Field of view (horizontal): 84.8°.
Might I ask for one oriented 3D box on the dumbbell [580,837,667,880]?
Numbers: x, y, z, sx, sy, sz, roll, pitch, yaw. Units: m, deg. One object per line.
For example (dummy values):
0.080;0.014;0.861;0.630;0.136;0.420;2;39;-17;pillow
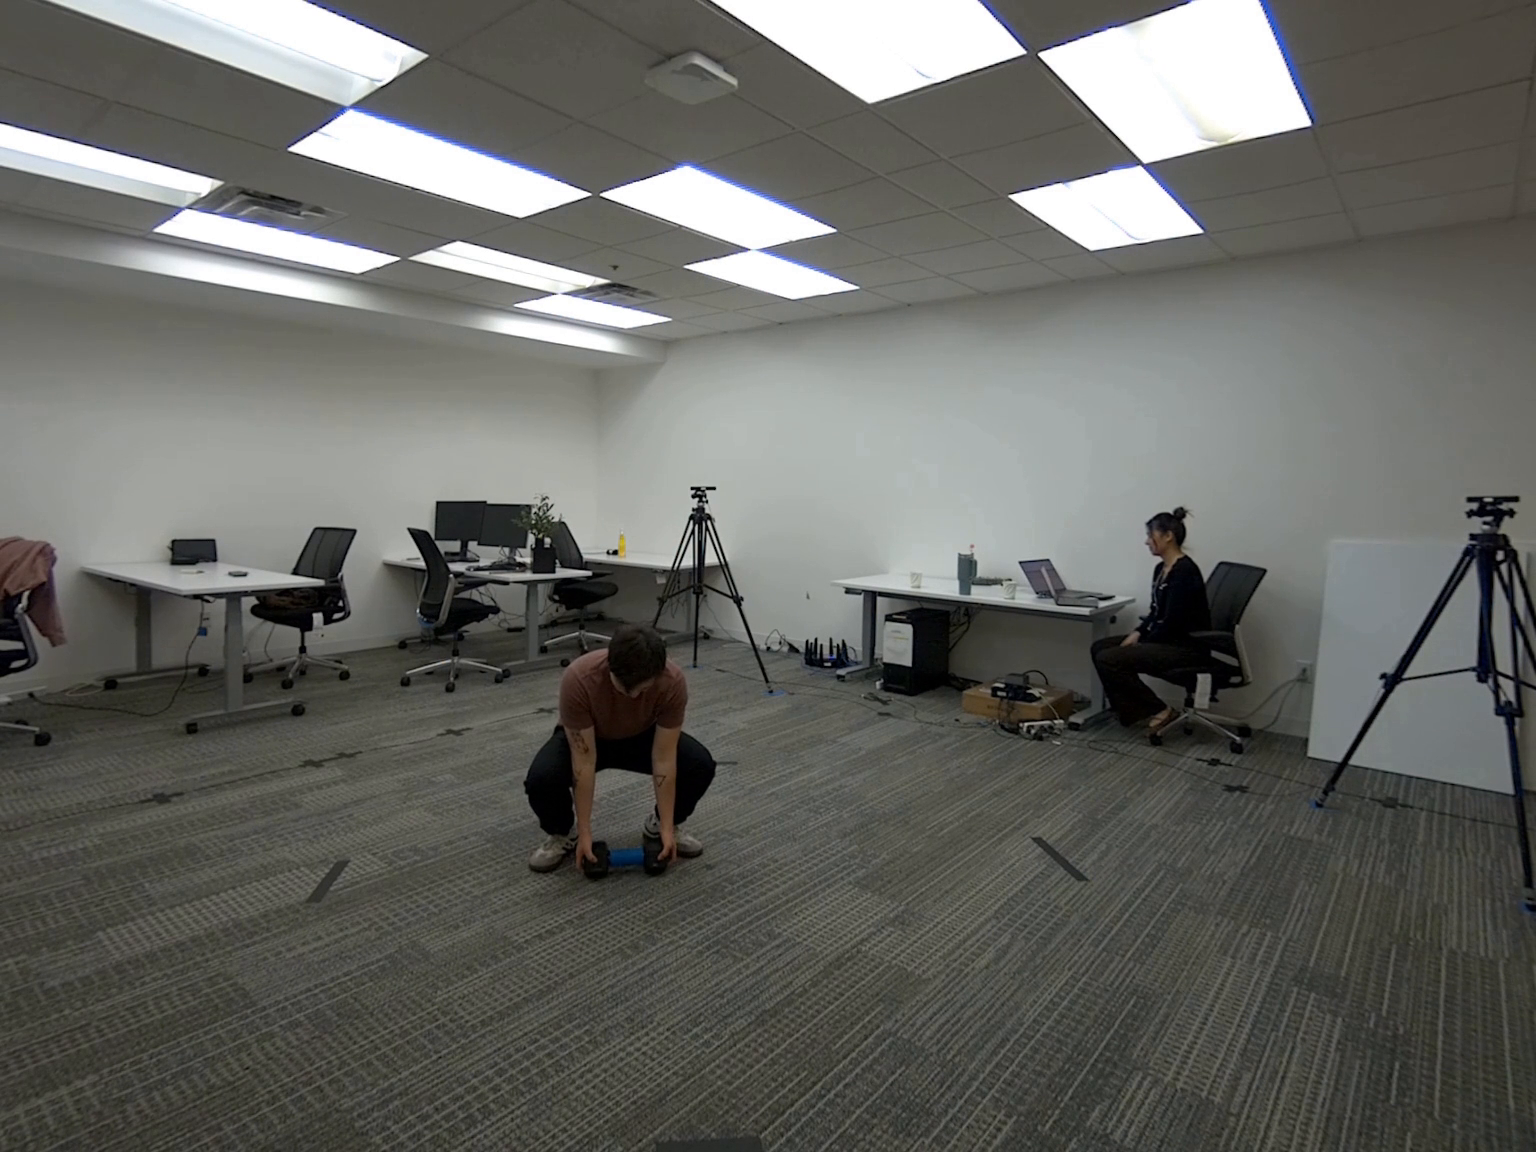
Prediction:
-0.527;1.018;3.029;0.291;0.112;0.120;1;-37;-9;dumbbell
